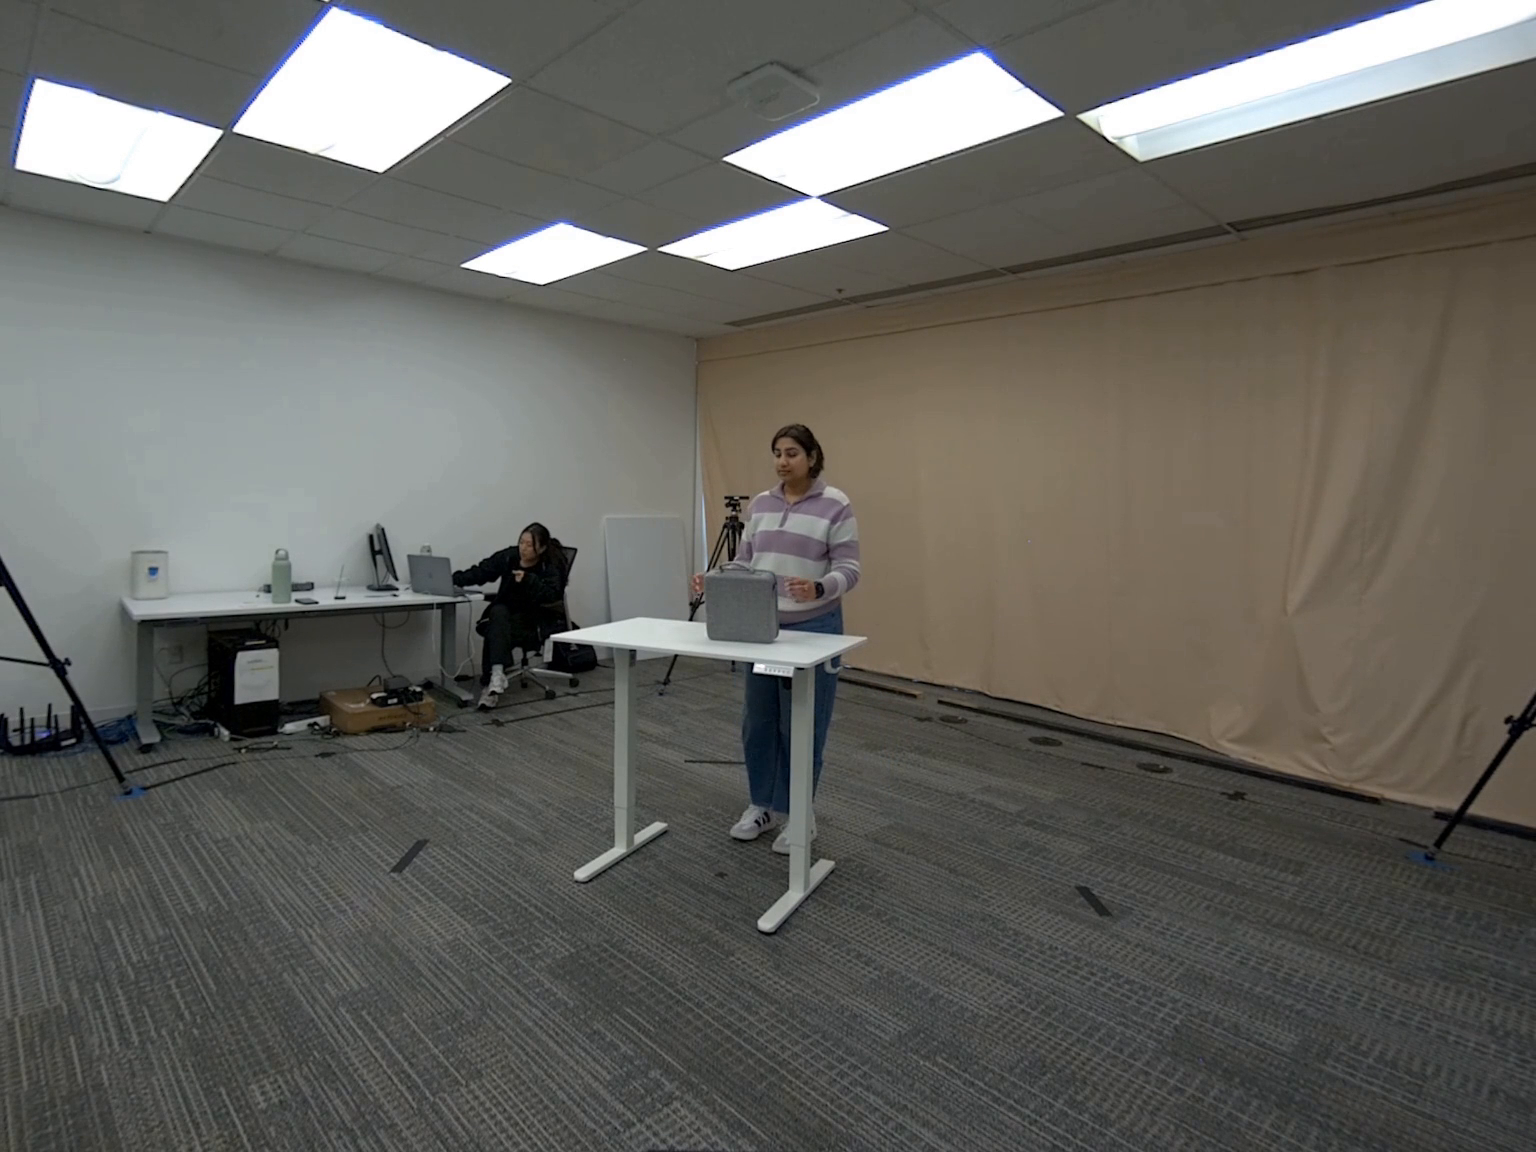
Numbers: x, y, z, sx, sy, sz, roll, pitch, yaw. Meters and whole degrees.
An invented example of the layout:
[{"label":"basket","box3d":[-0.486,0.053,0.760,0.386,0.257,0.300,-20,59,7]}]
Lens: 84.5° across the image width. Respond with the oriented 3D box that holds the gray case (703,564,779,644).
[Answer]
[{"label":"gray case","box3d":[-0.100,0.103,2.971,0.260,0.258,0.104,1,14,18]}]
